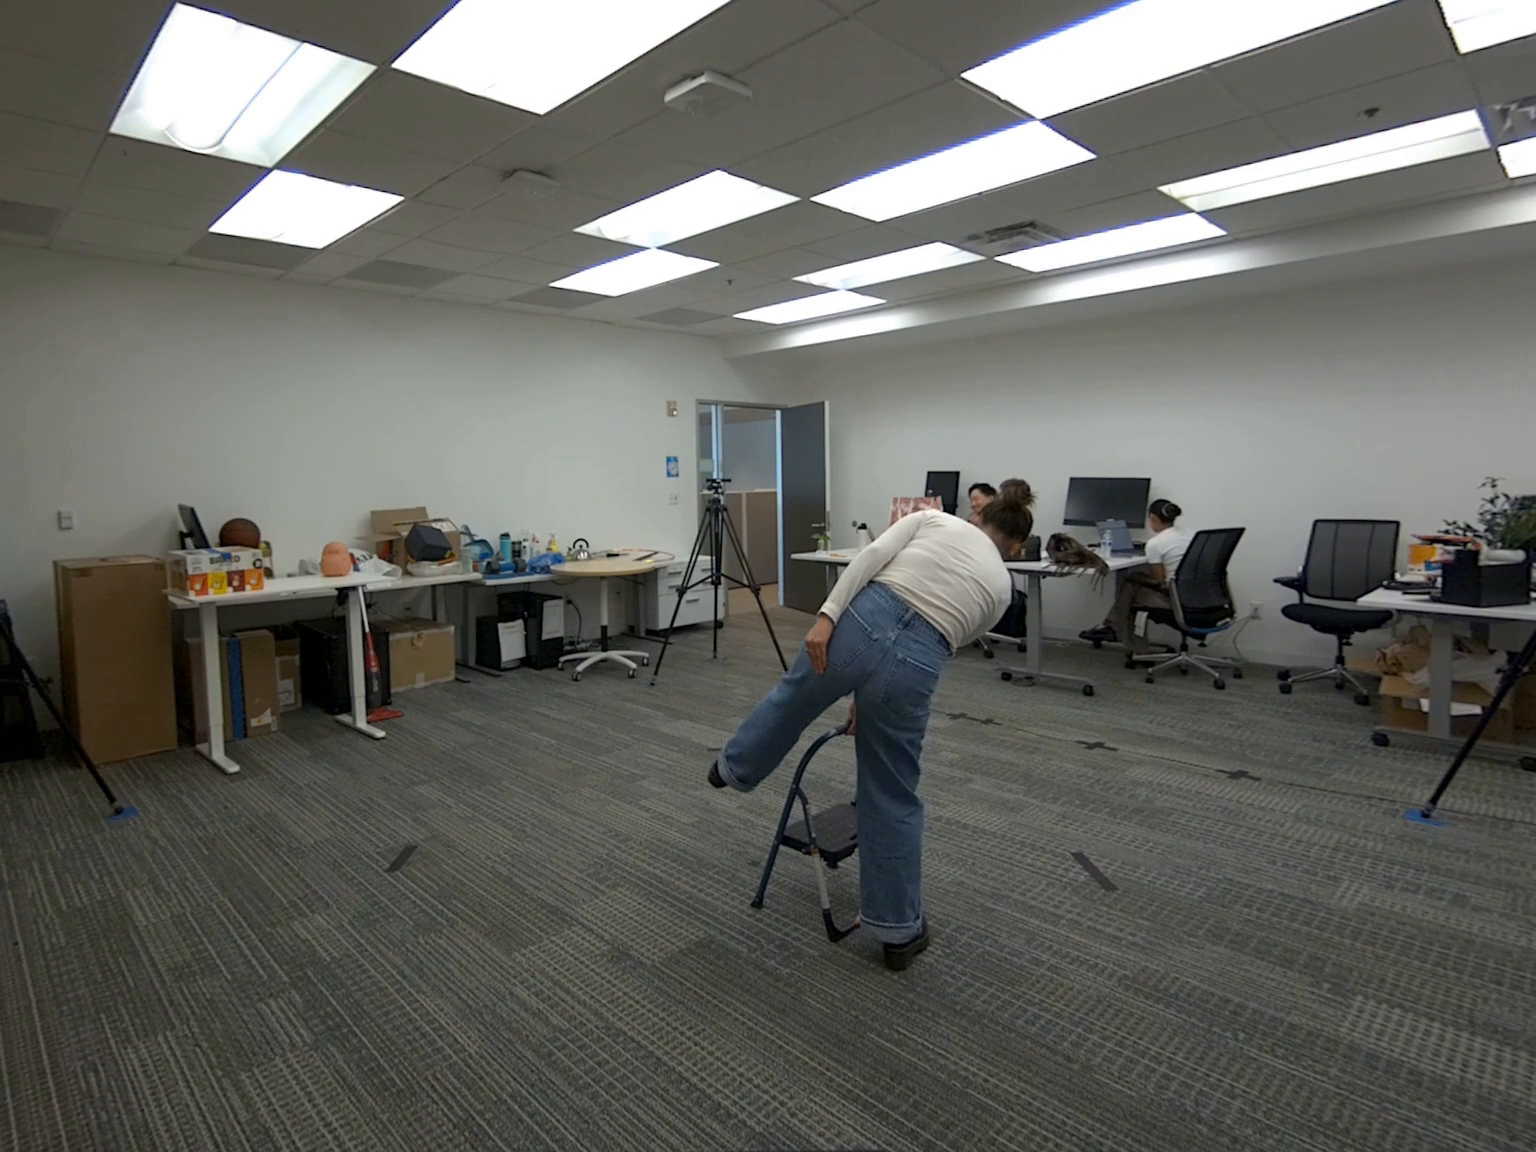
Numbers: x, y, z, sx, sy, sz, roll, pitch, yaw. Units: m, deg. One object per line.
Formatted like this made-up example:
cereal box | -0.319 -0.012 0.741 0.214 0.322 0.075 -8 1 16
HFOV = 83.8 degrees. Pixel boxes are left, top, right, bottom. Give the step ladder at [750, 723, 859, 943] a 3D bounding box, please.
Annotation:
step ladder | 0.211 0.774 2.804 0.360 0.604 0.419 3 5 43
